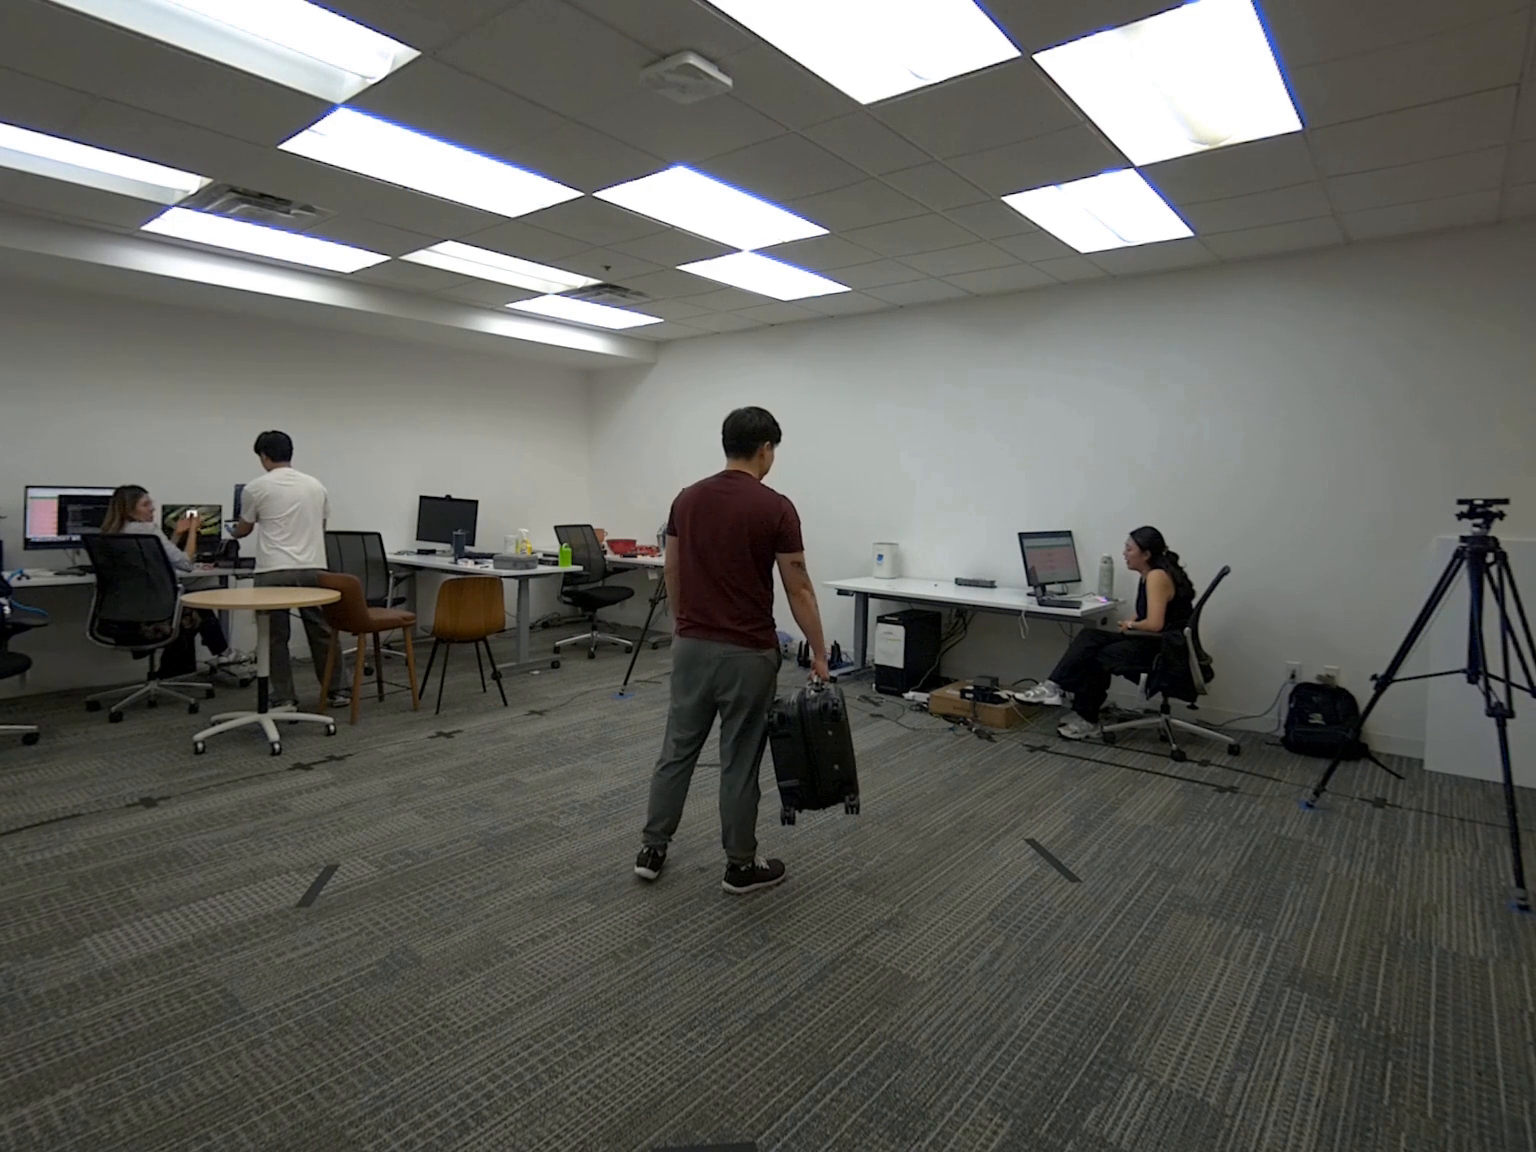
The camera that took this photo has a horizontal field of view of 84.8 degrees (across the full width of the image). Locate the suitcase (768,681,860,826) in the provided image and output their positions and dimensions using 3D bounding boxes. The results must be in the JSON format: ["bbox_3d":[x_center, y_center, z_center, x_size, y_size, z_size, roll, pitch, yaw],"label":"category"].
[{"bbox_3d":[0.164,0.572,3.101,0.258,0.385,0.971,-10,-2,3],"label":"suitcase"}]
